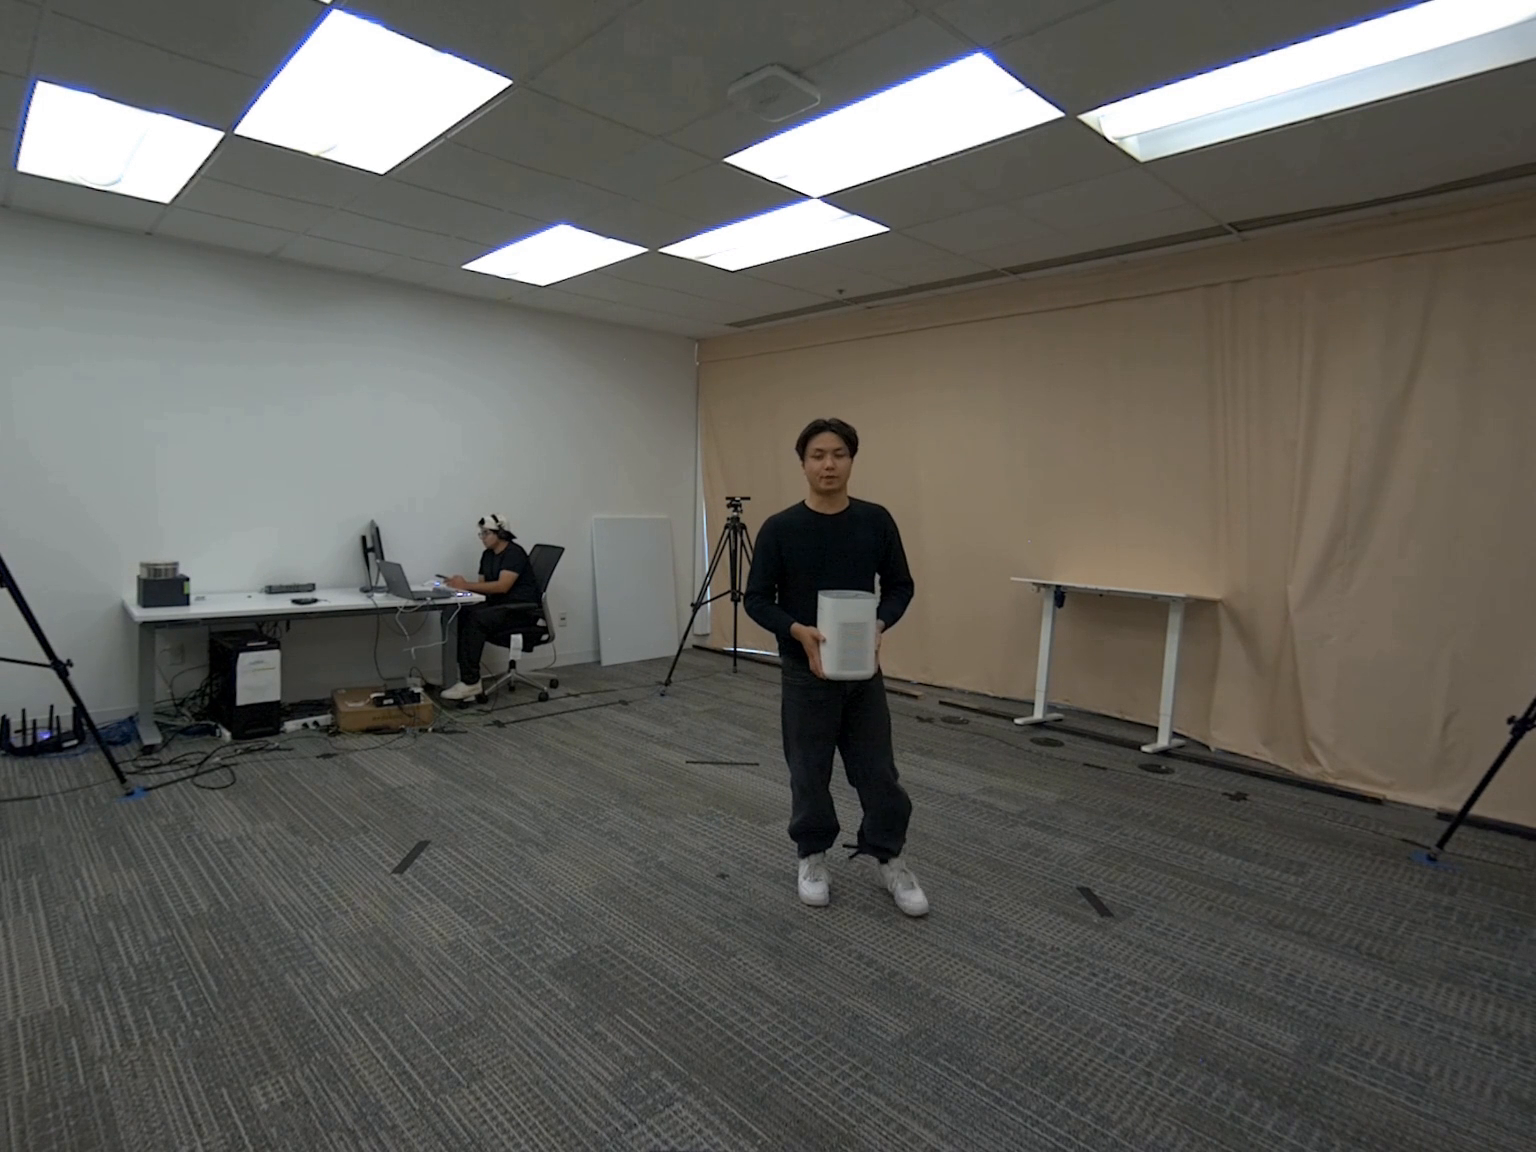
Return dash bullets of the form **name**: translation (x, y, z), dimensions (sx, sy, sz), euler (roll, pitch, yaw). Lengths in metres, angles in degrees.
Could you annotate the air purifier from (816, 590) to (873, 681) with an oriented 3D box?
- **air purifier**: translation (0.224, 0.185, 2.675), dimensions (0.173, 0.264, 0.170), euler (6, 4, 11)
